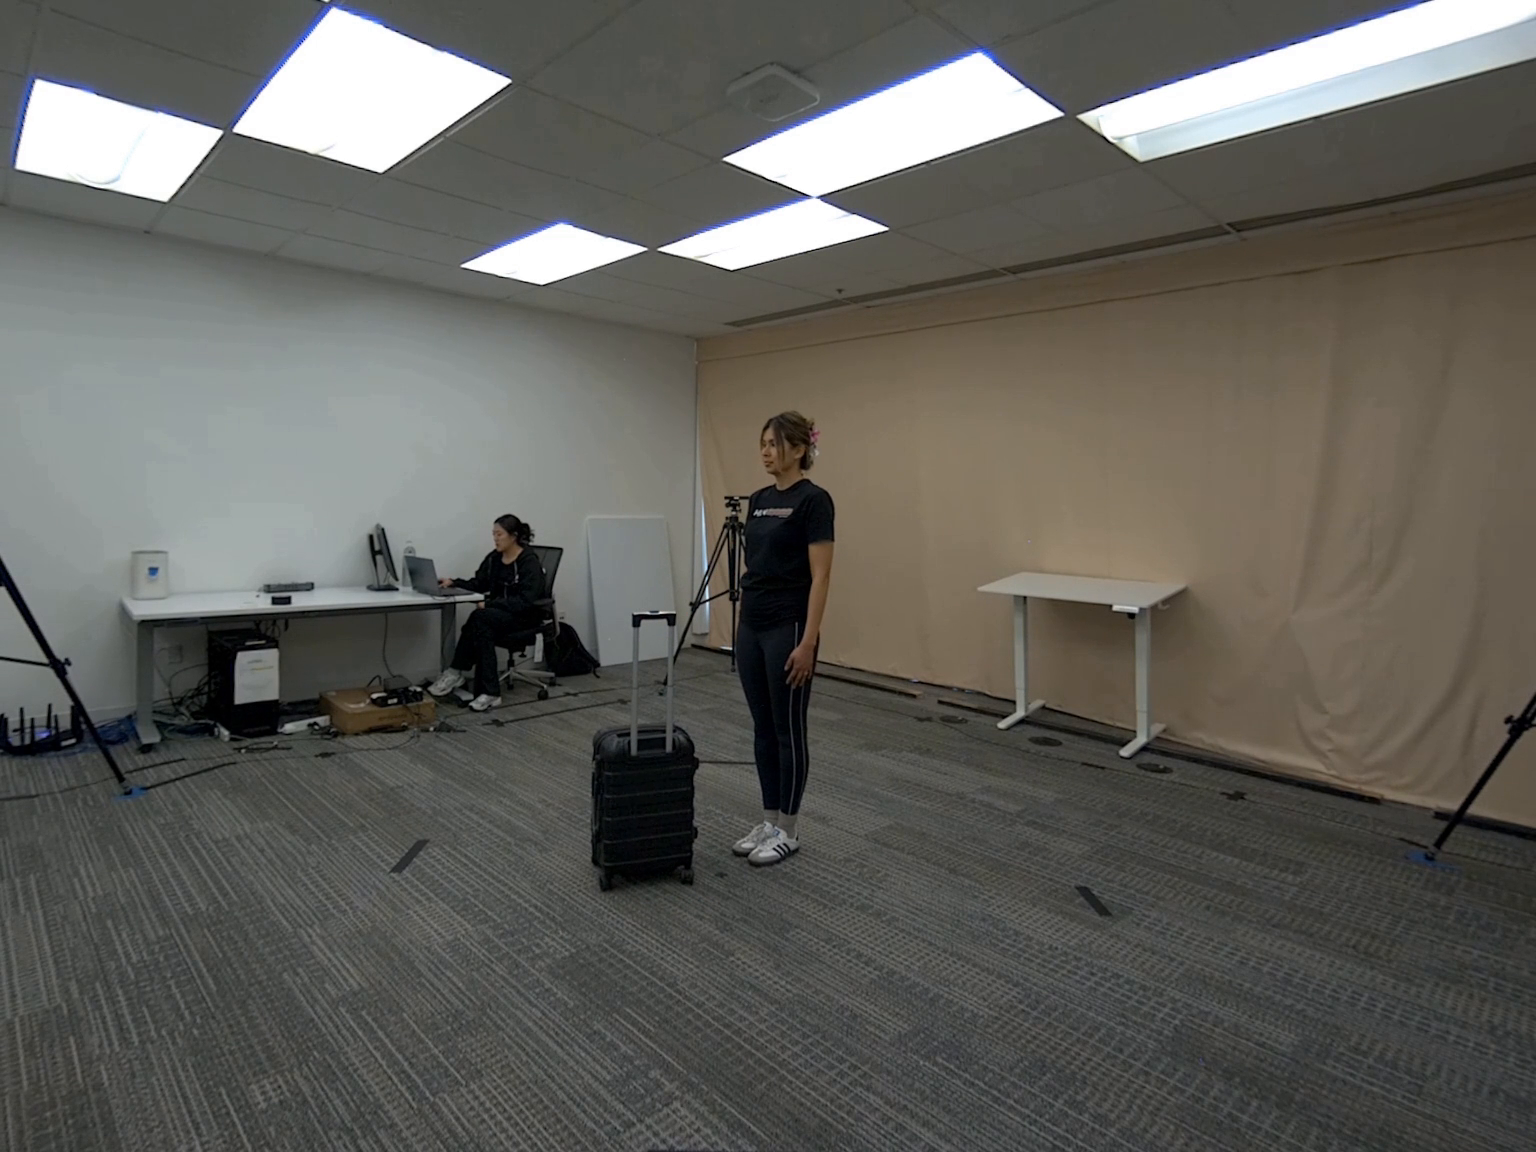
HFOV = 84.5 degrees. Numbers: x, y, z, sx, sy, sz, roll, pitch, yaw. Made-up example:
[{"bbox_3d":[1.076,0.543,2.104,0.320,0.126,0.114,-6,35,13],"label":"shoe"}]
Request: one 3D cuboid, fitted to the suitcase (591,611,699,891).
[{"bbox_3d":[-0.463,0.628,3.070,0.379,0.977,0.261,2,2,-17],"label":"suitcase"}]
